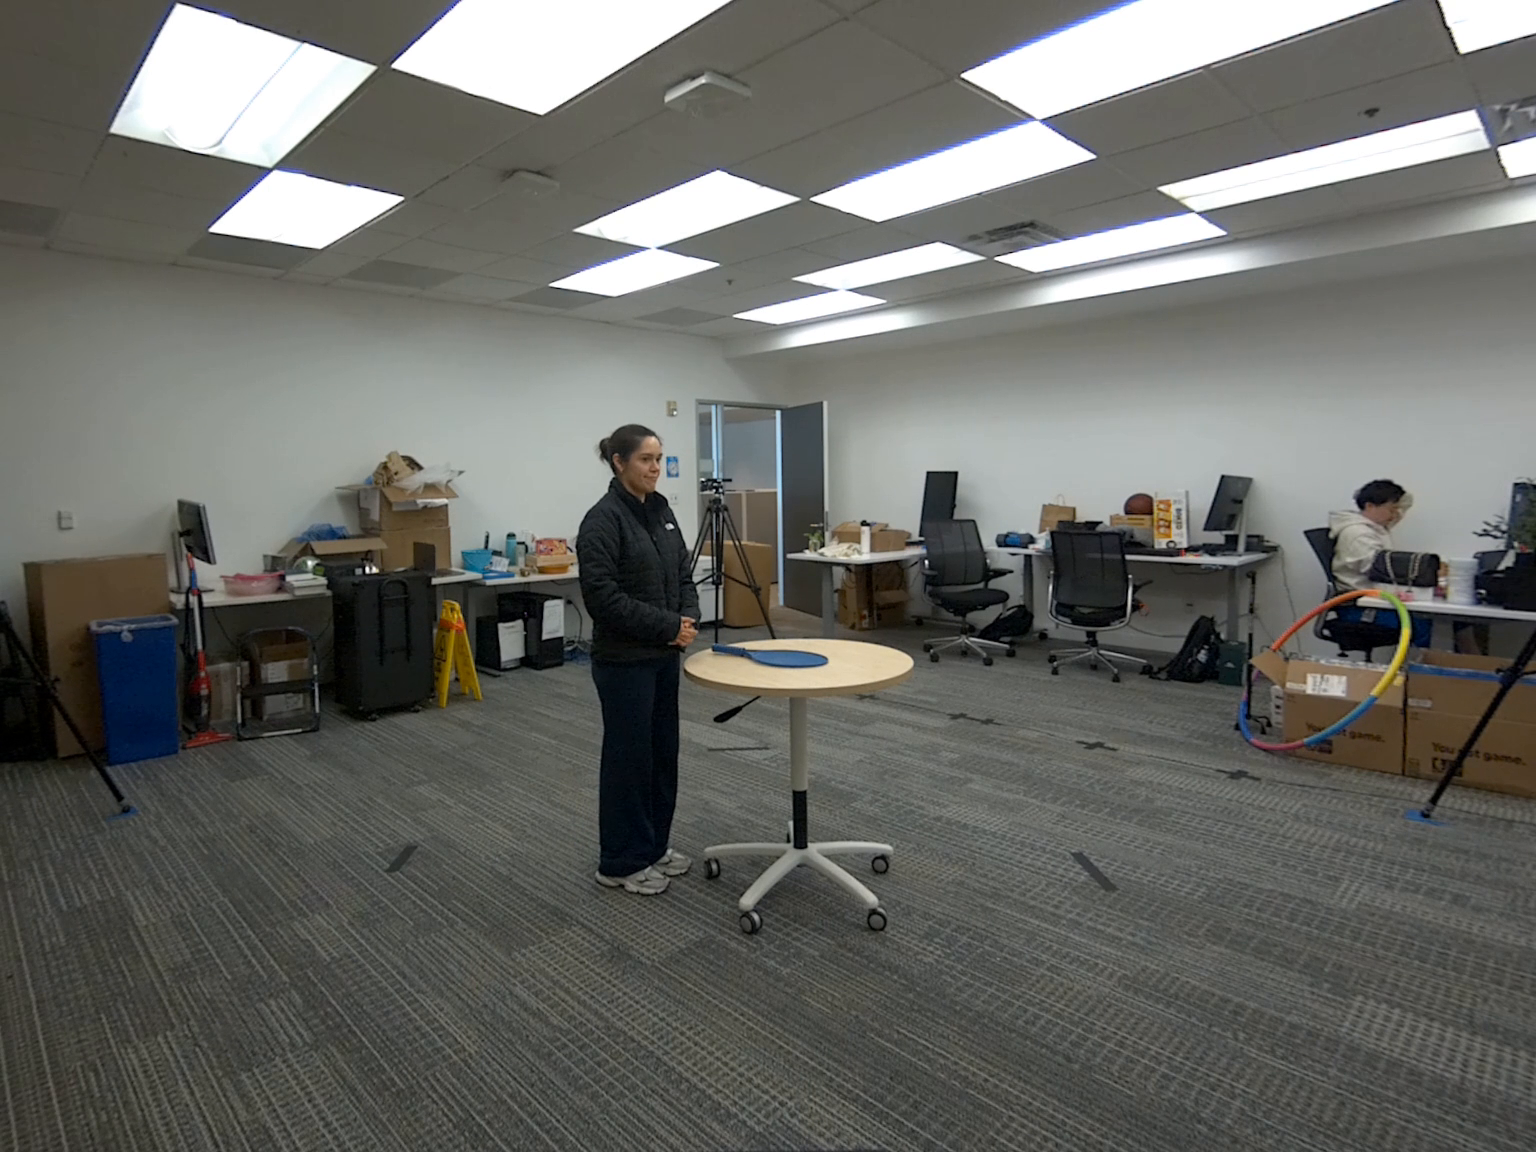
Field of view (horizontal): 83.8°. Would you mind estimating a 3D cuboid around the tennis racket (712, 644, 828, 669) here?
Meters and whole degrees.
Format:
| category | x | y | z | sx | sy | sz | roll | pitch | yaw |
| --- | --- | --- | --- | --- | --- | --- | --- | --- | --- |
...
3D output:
| category | x | y | z | sx | sy | sz | roll | pitch | yaw |
| --- | --- | --- | --- | --- | --- | --- | --- | --- | --- |
| tennis racket | -0.001 | 0.273 | 2.915 | 0.445 | 0.031 | 0.209 | 4 | 7 | 32 |
